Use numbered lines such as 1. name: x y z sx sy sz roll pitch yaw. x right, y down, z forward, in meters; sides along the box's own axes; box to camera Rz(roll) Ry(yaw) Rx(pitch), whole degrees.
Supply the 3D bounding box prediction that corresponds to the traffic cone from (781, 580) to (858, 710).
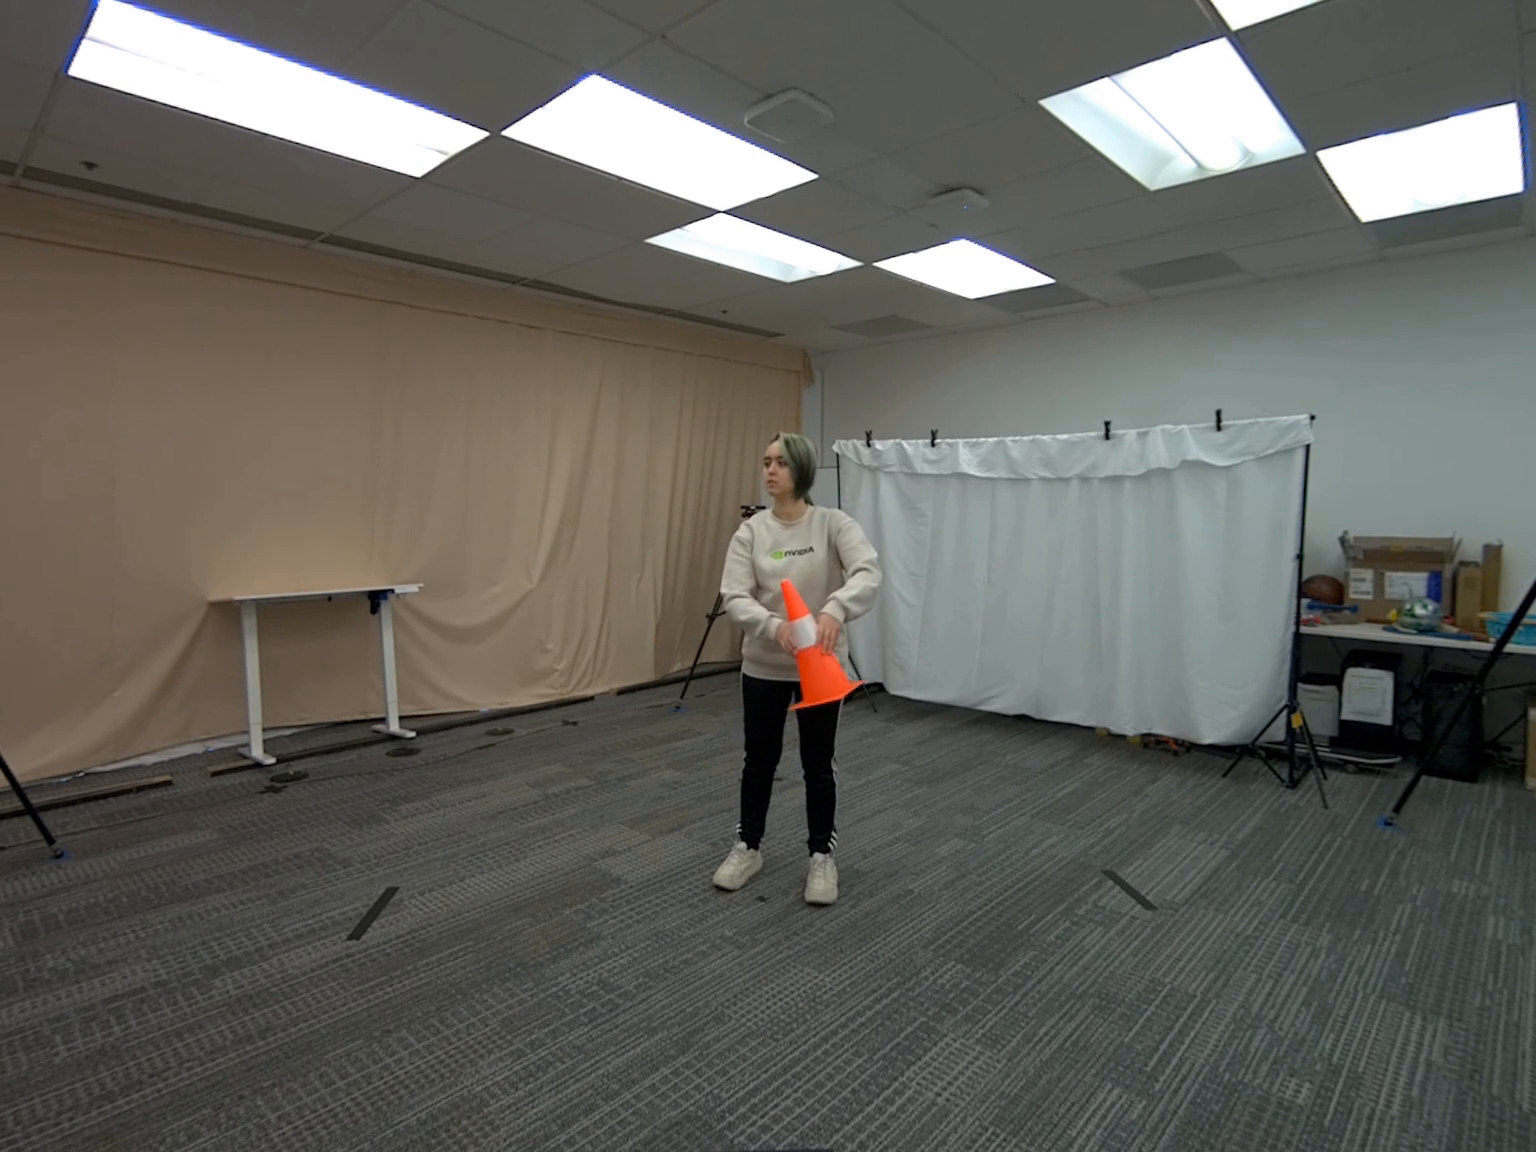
1. traffic cone: 0.116 0.185 2.638 0.209 0.385 0.198 -22 -5 38
